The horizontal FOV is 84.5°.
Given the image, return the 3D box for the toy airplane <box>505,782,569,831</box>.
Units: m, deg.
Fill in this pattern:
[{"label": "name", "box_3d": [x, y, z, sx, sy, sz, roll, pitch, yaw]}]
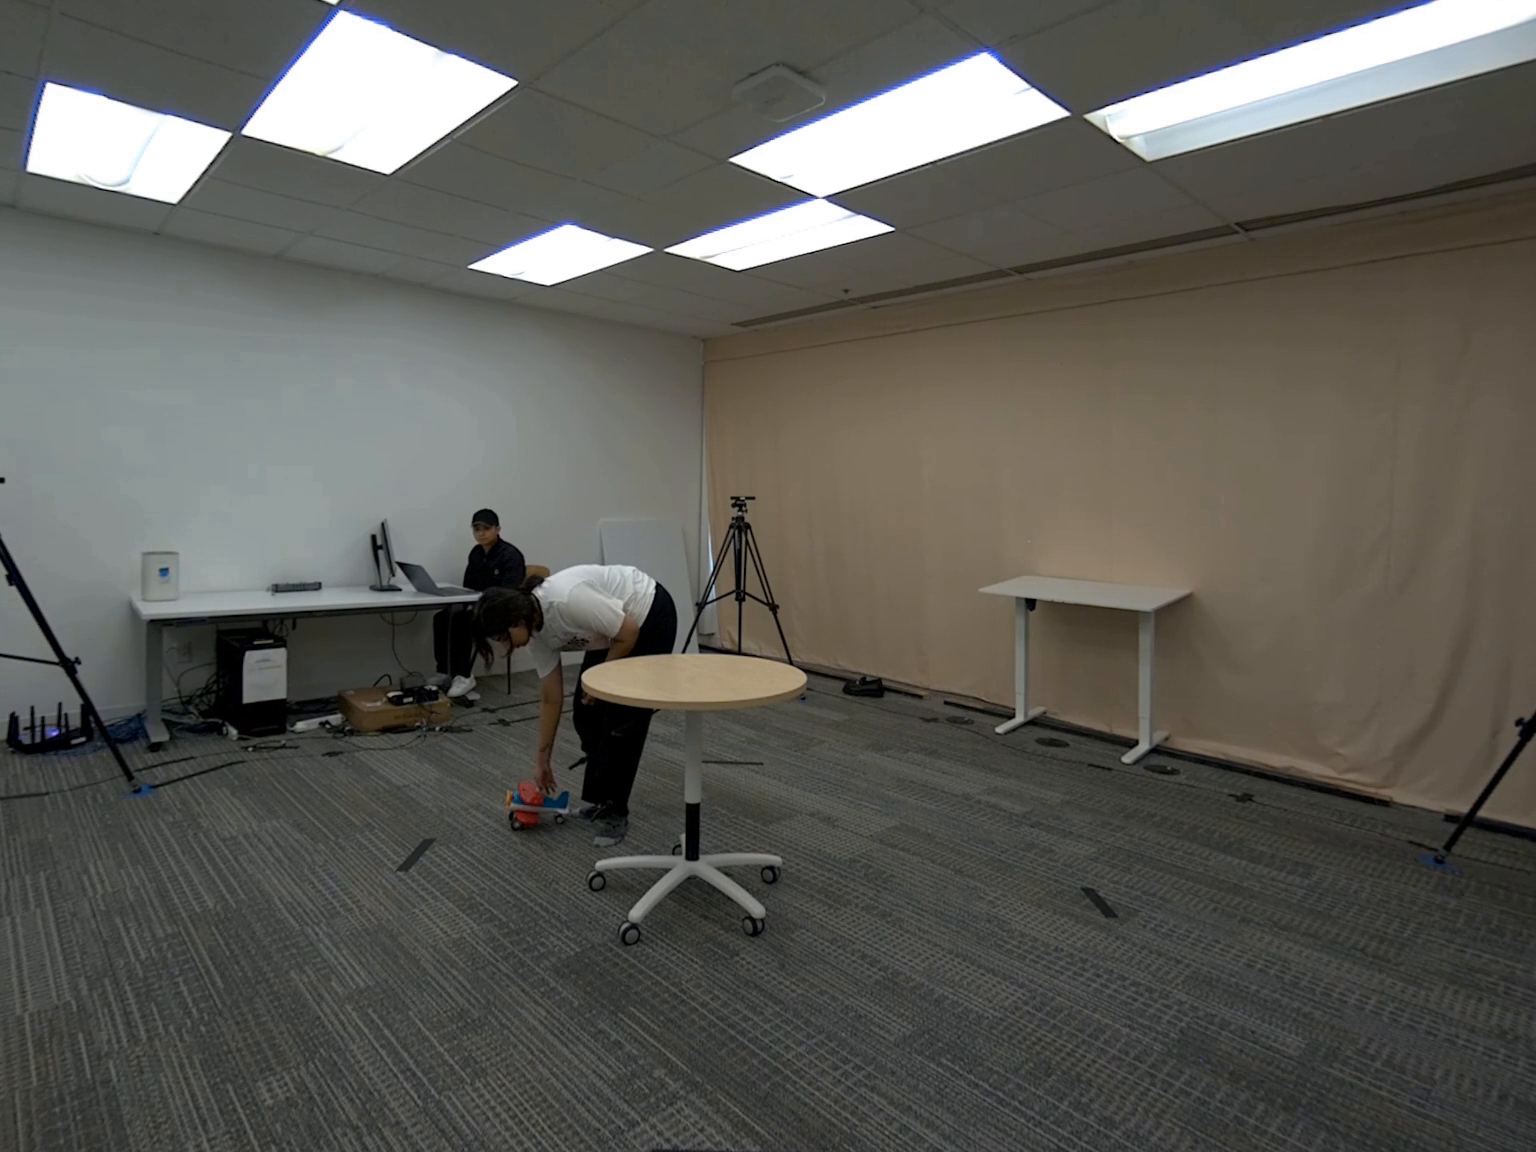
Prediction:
[{"label": "toy airplane", "box_3d": [-0.985, 0.966, 3.555, 0.257, 0.156, 0.253, 4, 6, 41]}]
